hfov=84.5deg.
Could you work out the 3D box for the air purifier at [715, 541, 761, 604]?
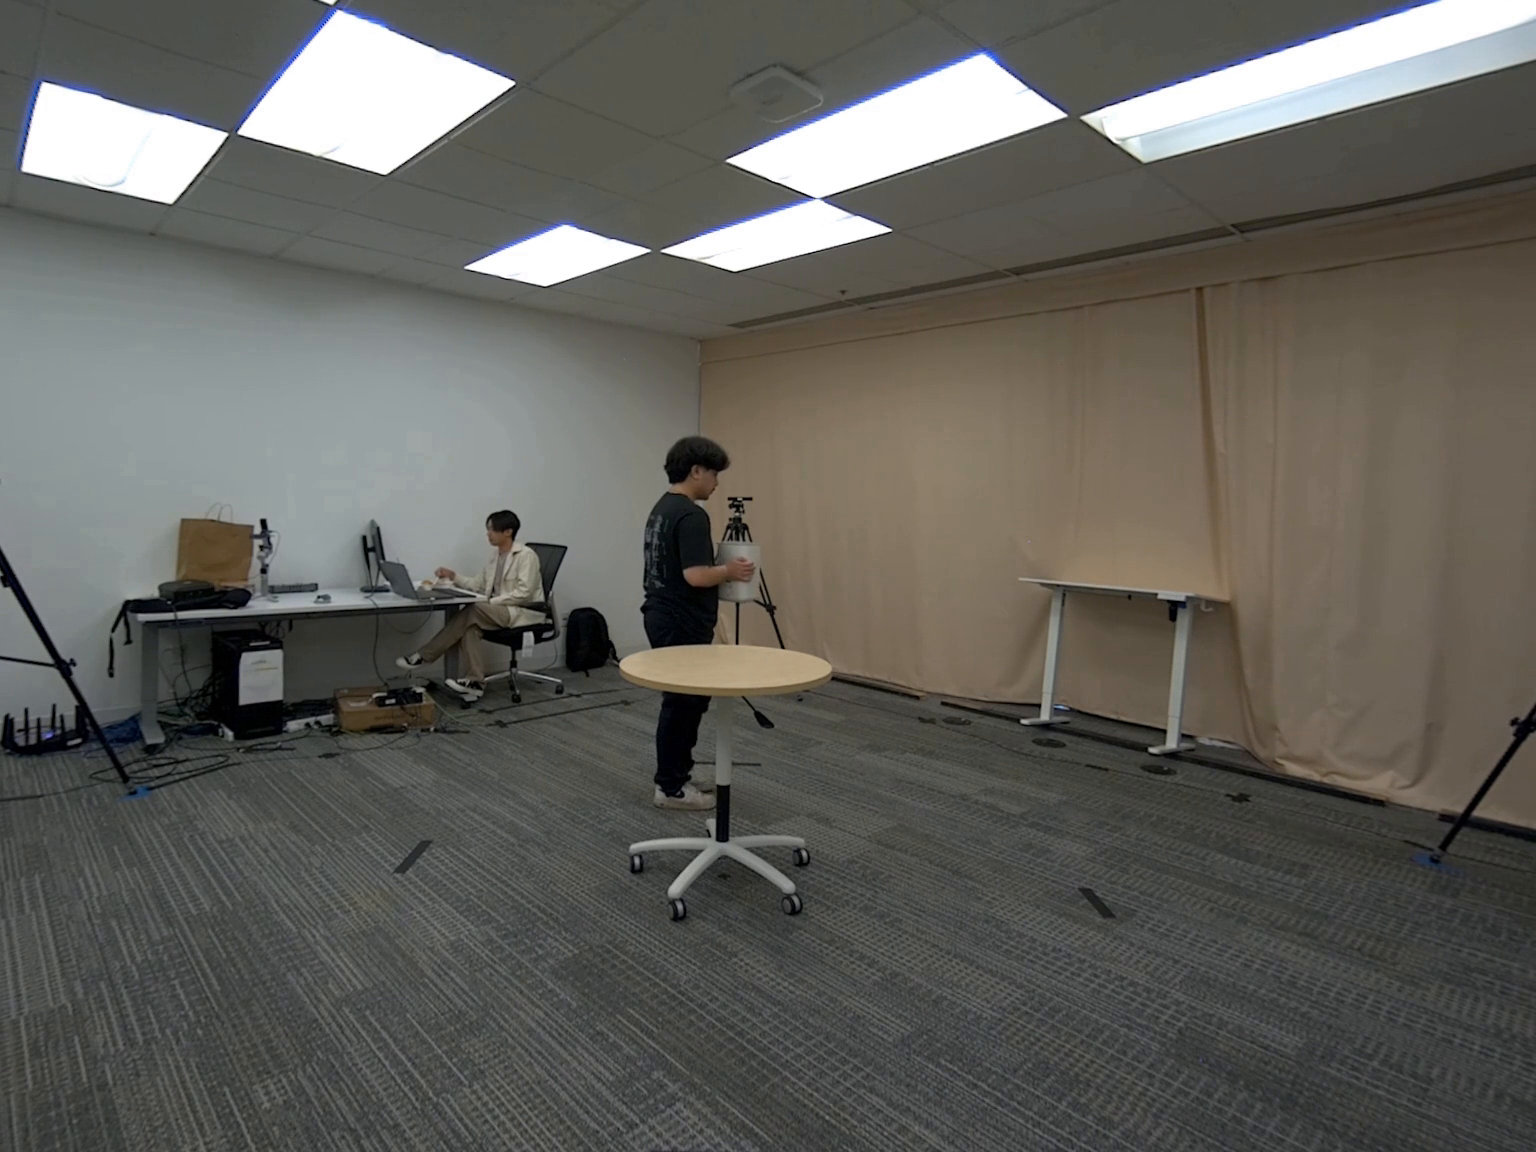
[{"bbox_3d":[-0.145,-0.022,3.839,0.174,0.265,0.168,4,3,27],"label":"air purifier"}]
